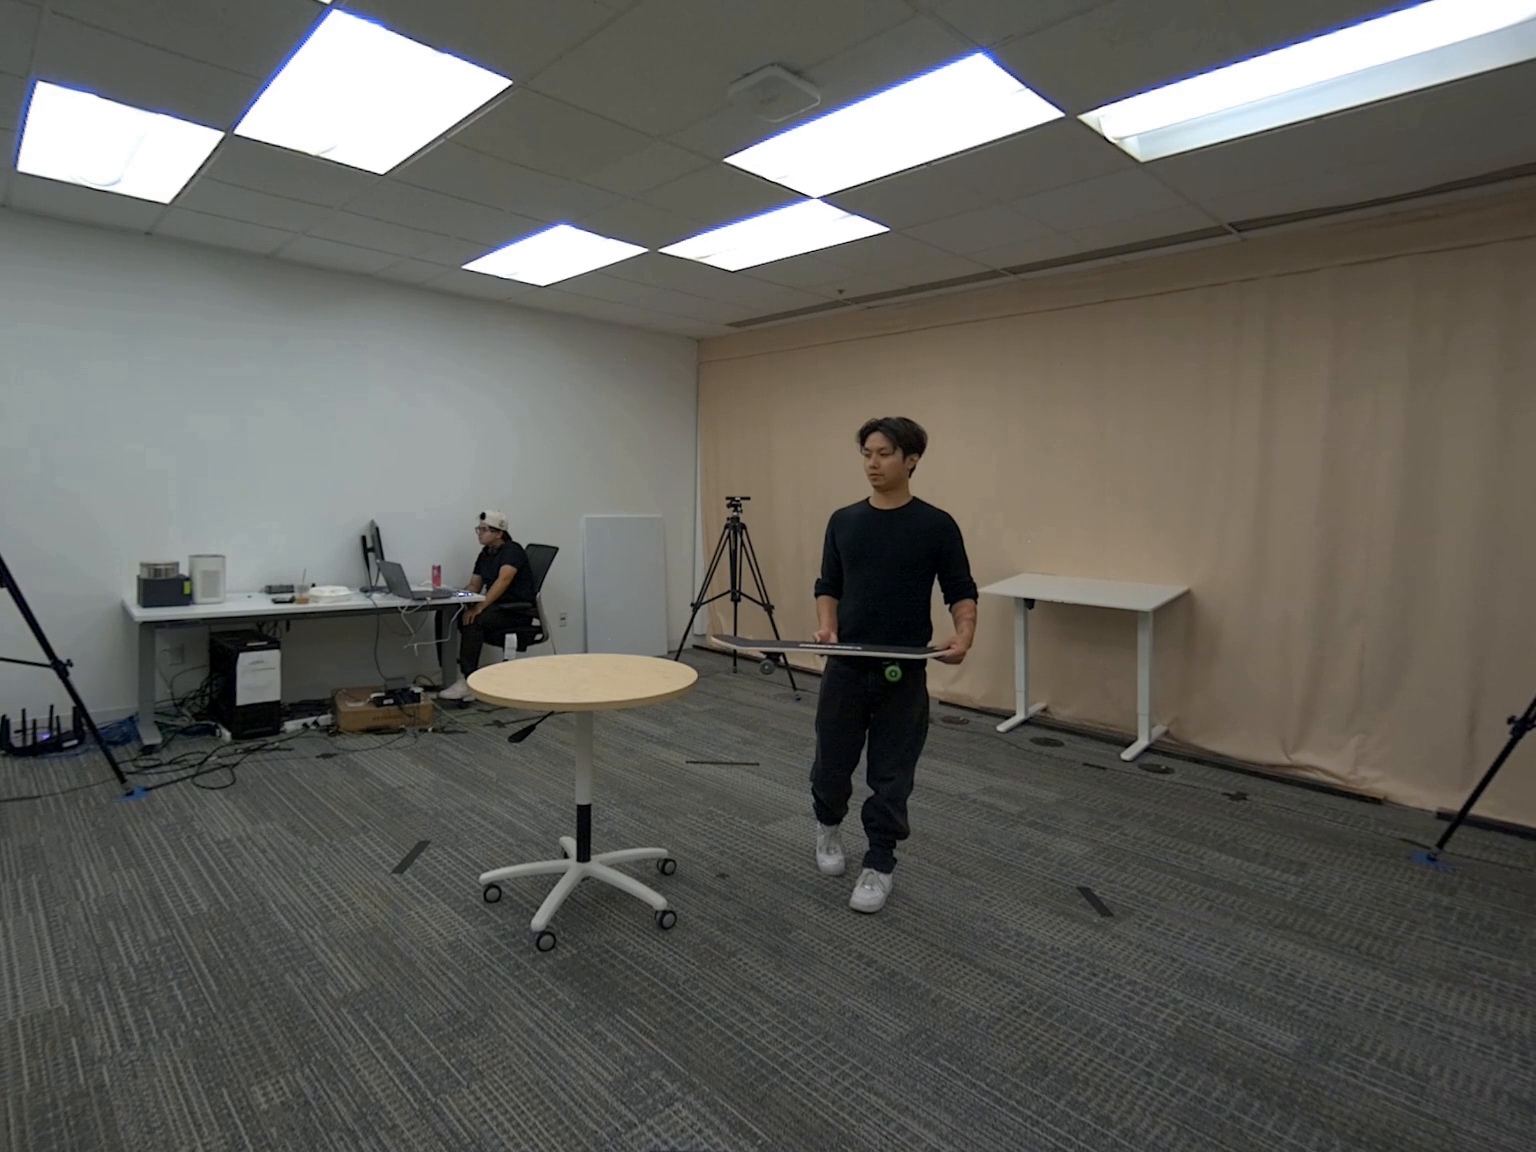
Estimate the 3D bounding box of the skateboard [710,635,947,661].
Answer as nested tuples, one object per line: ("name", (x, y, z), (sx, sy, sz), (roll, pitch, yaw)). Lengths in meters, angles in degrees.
("skateboard", (0.202, 0.266, 2.740), (0.789, 0.110, 0.193), (1, 2, 5))
